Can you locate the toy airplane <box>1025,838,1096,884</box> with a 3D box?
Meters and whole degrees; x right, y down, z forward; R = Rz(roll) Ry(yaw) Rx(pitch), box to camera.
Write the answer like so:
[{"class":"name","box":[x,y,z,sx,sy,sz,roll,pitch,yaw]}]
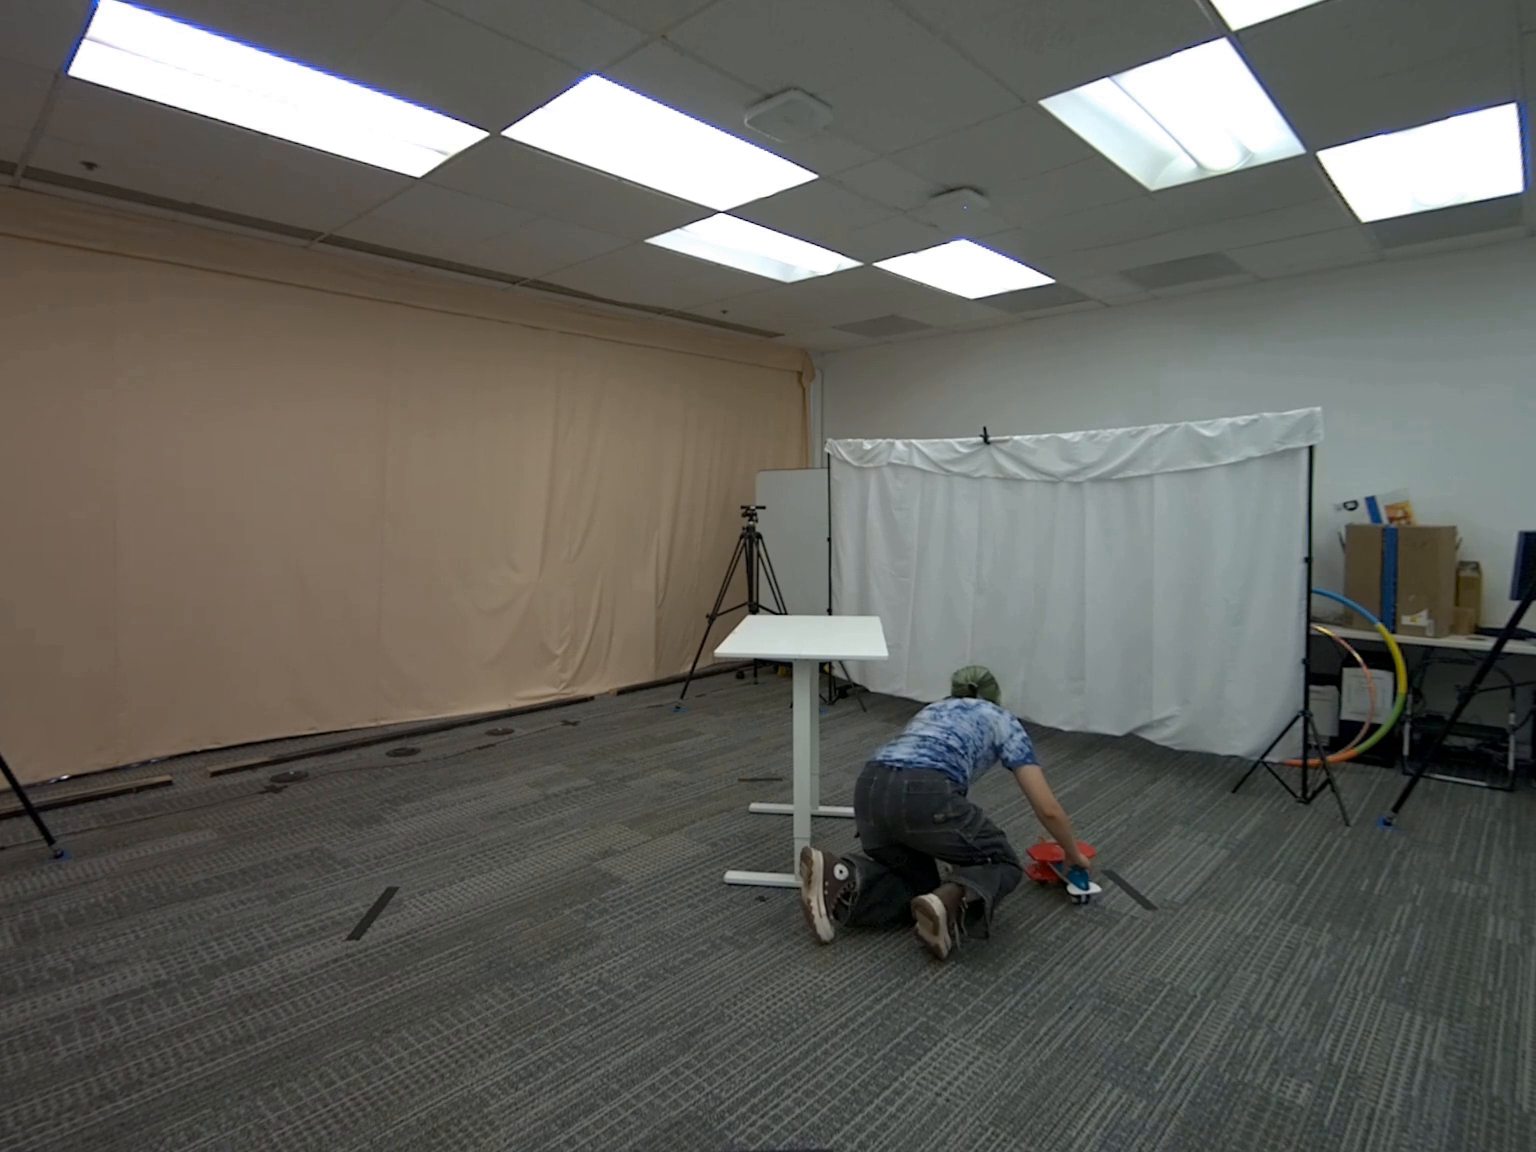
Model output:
[{"class":"toy airplane","box":[1.103,1.071,3.040,0.243,0.156,0.268,-2,4,-41]}]
